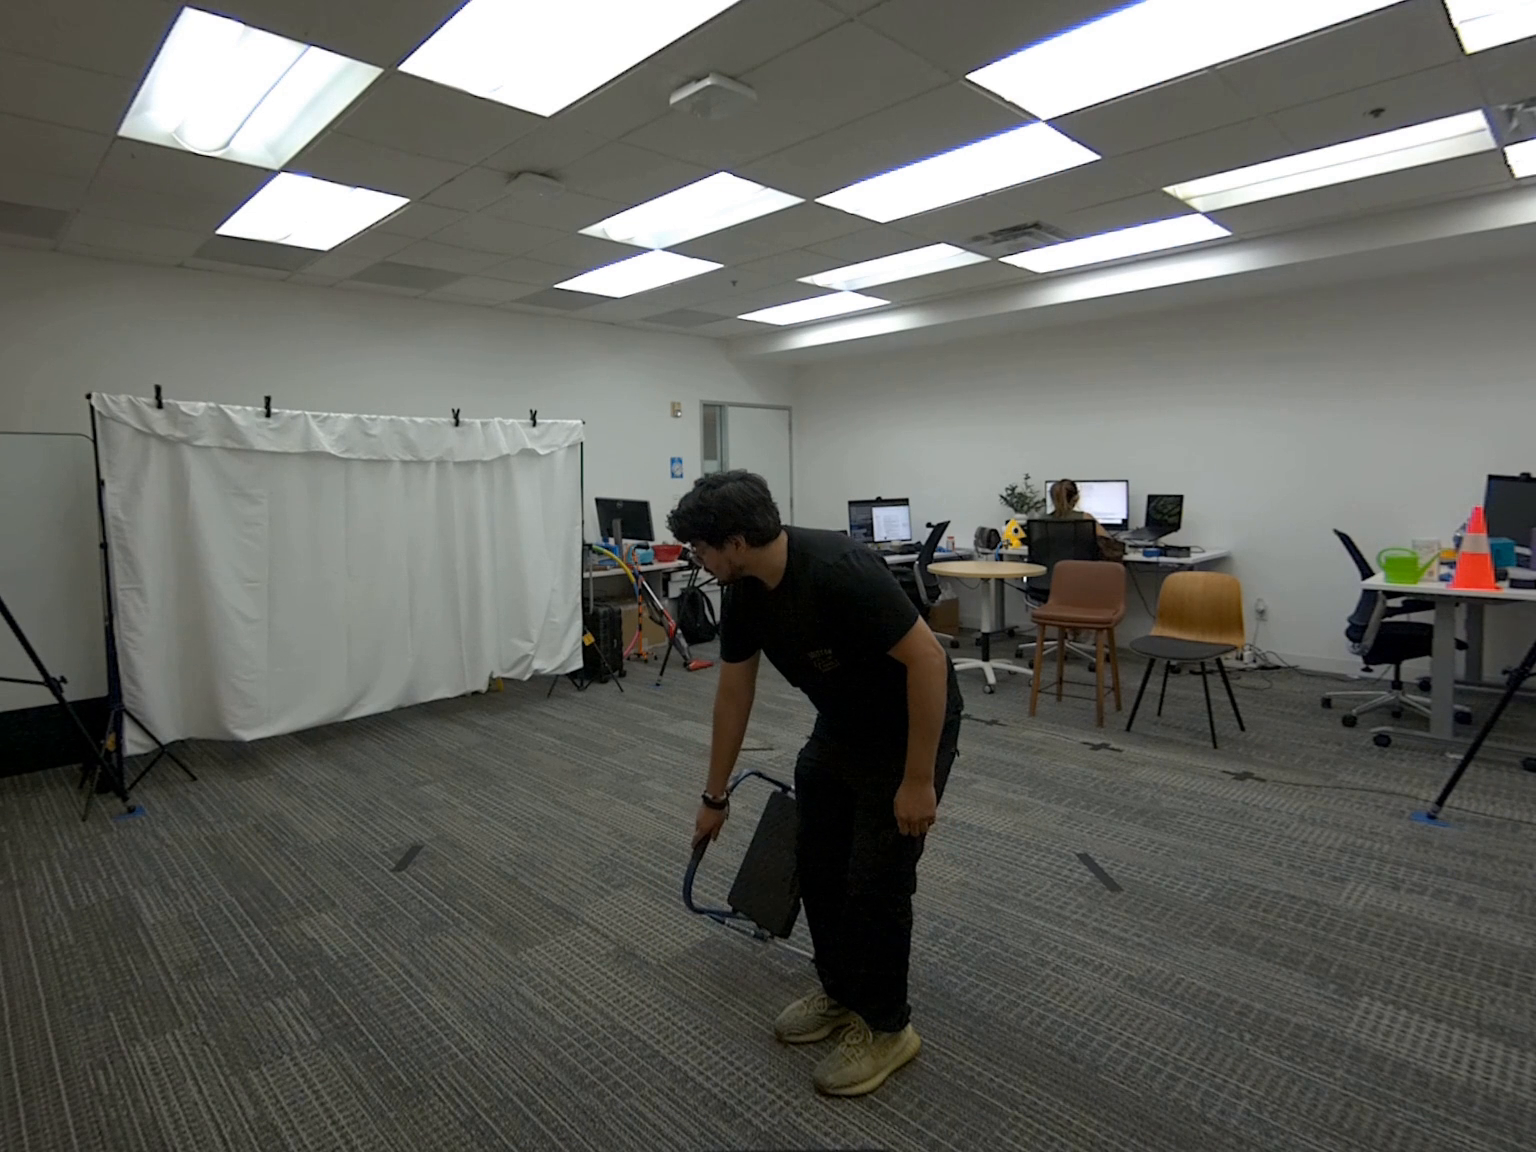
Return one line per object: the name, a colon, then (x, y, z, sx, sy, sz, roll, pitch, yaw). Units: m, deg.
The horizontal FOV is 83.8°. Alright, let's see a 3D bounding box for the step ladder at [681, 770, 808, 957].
step ladder: (-0.021, 0.789, 2.445, 0.583, 0.433, 0.360, 34, -18, -37)
